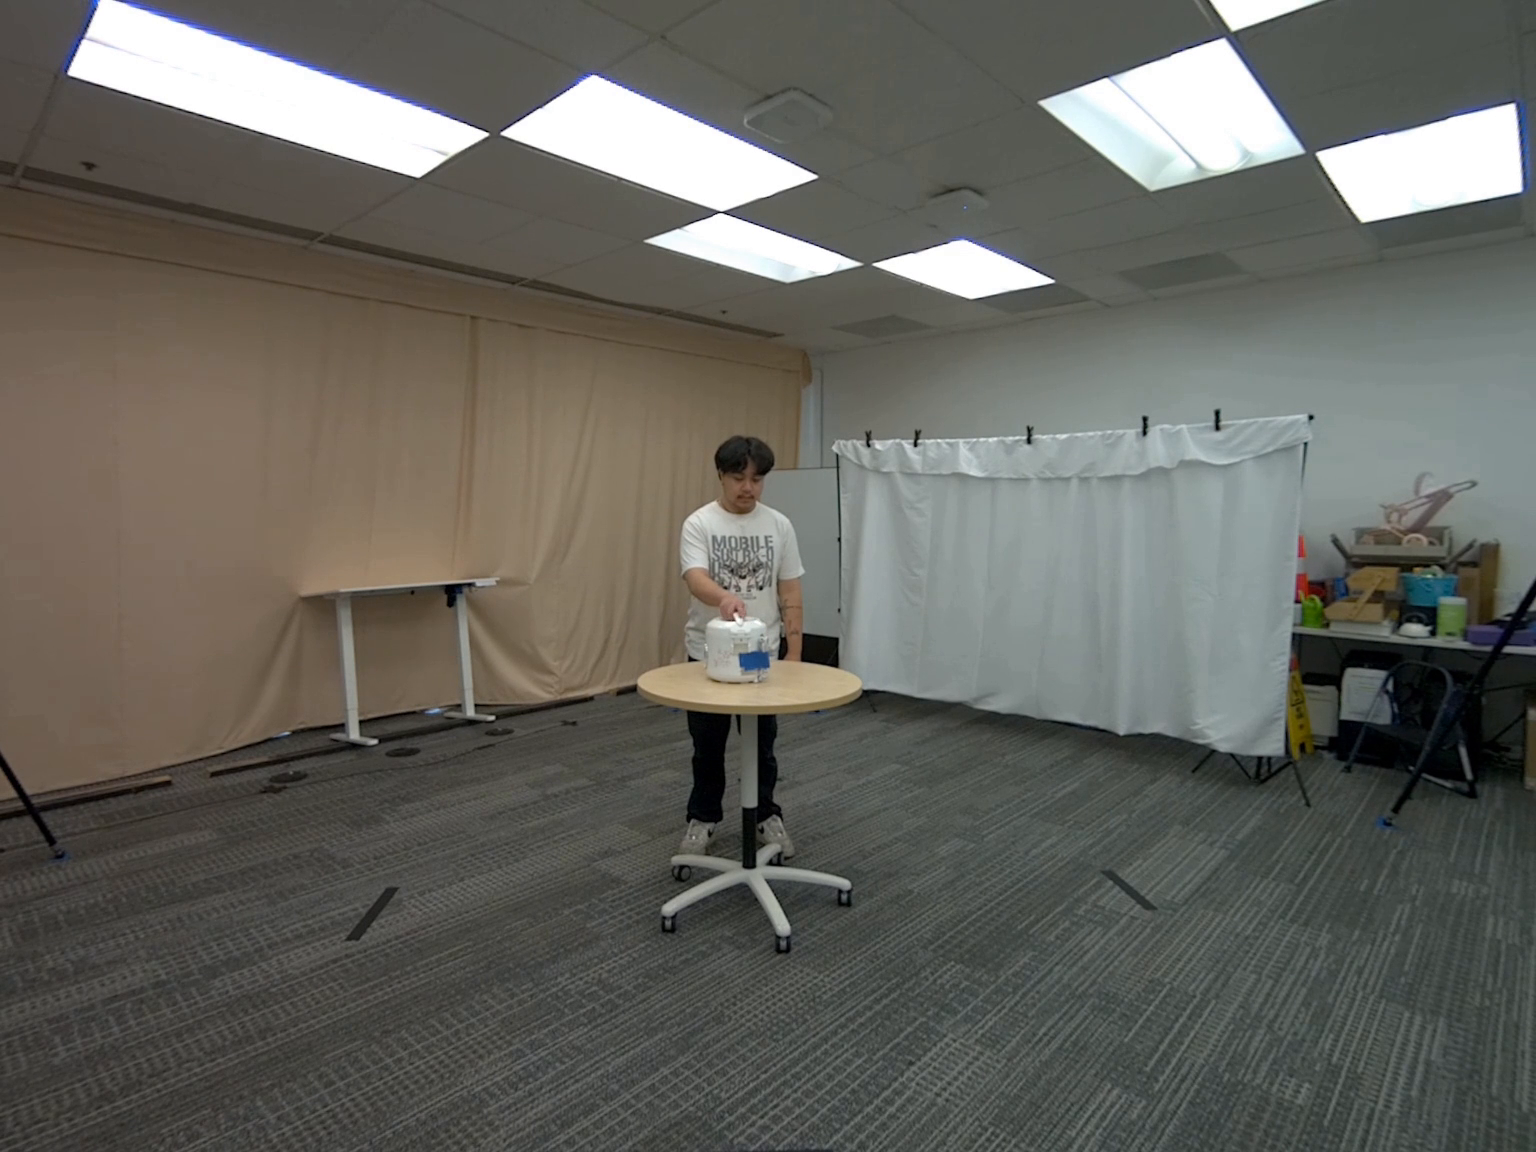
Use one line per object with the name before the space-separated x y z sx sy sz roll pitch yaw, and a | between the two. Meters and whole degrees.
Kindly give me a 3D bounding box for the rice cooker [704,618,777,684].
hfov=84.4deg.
rice cooker | -0.107 0.236 2.893 0.216 0.232 0.223 -1 3 -8
